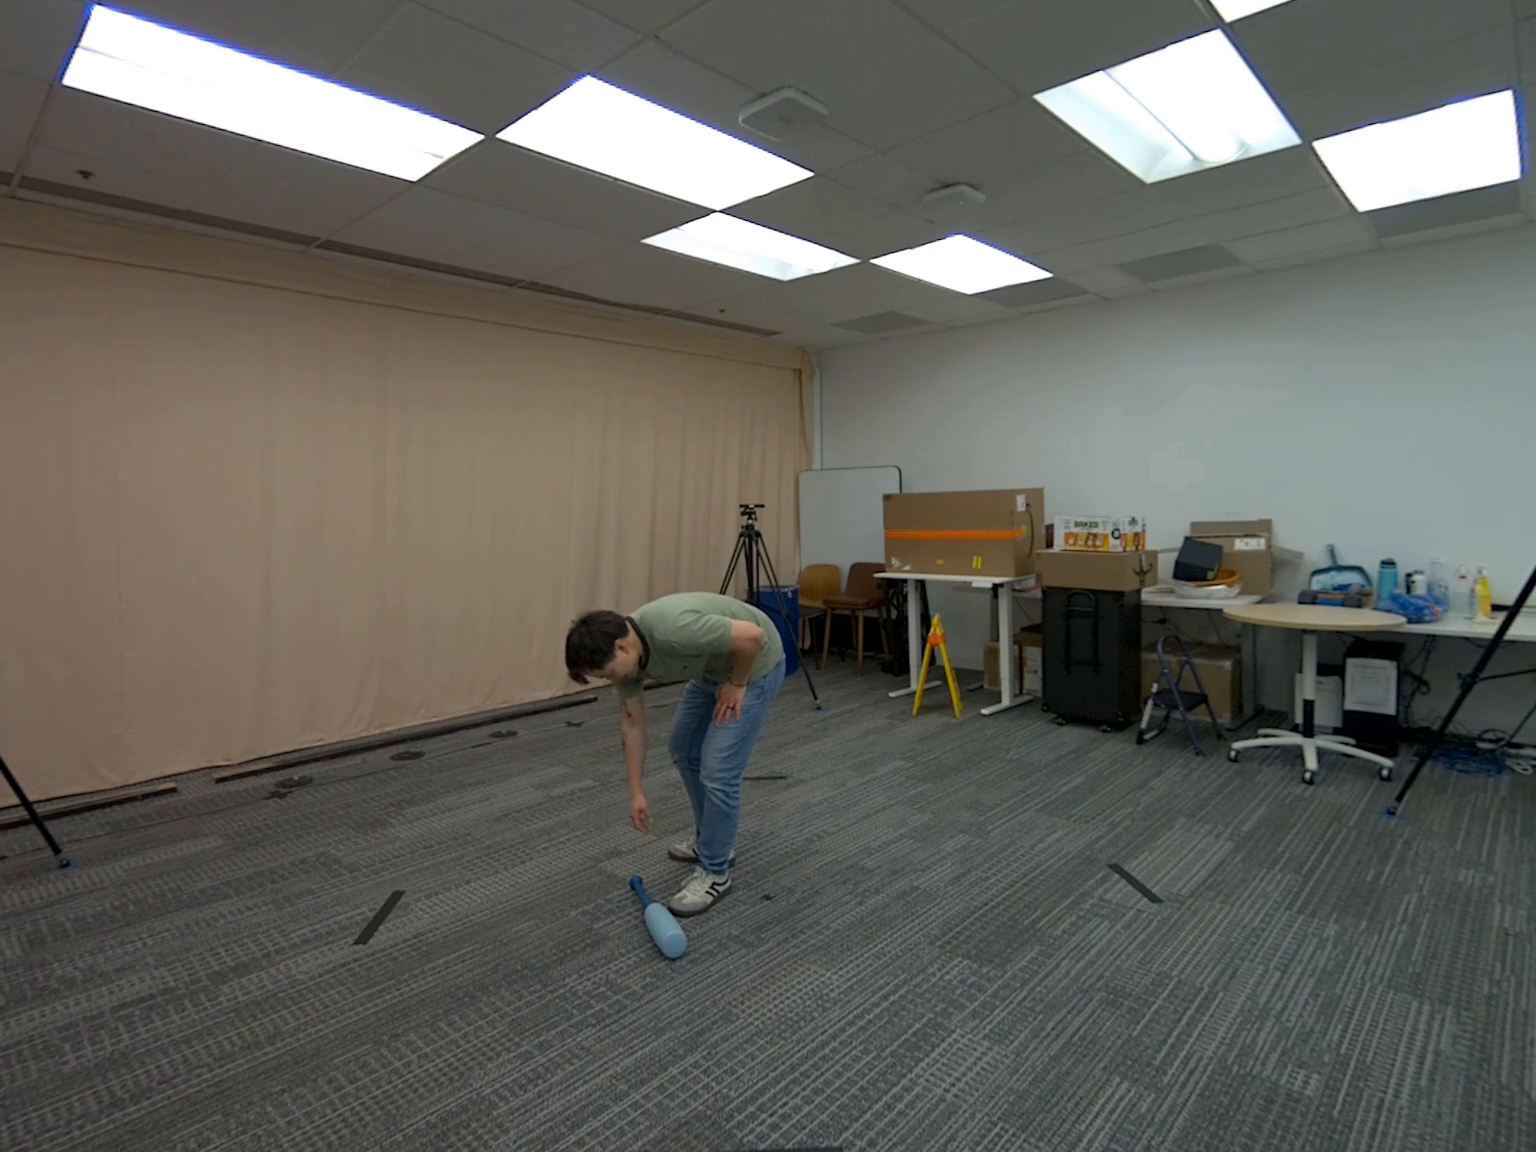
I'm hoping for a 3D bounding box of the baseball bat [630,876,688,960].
[{"bbox_3d":[-0.384,1.124,2.823,0.087,0.089,0.554,-2,2,-21],"label":"baseball bat"}]
